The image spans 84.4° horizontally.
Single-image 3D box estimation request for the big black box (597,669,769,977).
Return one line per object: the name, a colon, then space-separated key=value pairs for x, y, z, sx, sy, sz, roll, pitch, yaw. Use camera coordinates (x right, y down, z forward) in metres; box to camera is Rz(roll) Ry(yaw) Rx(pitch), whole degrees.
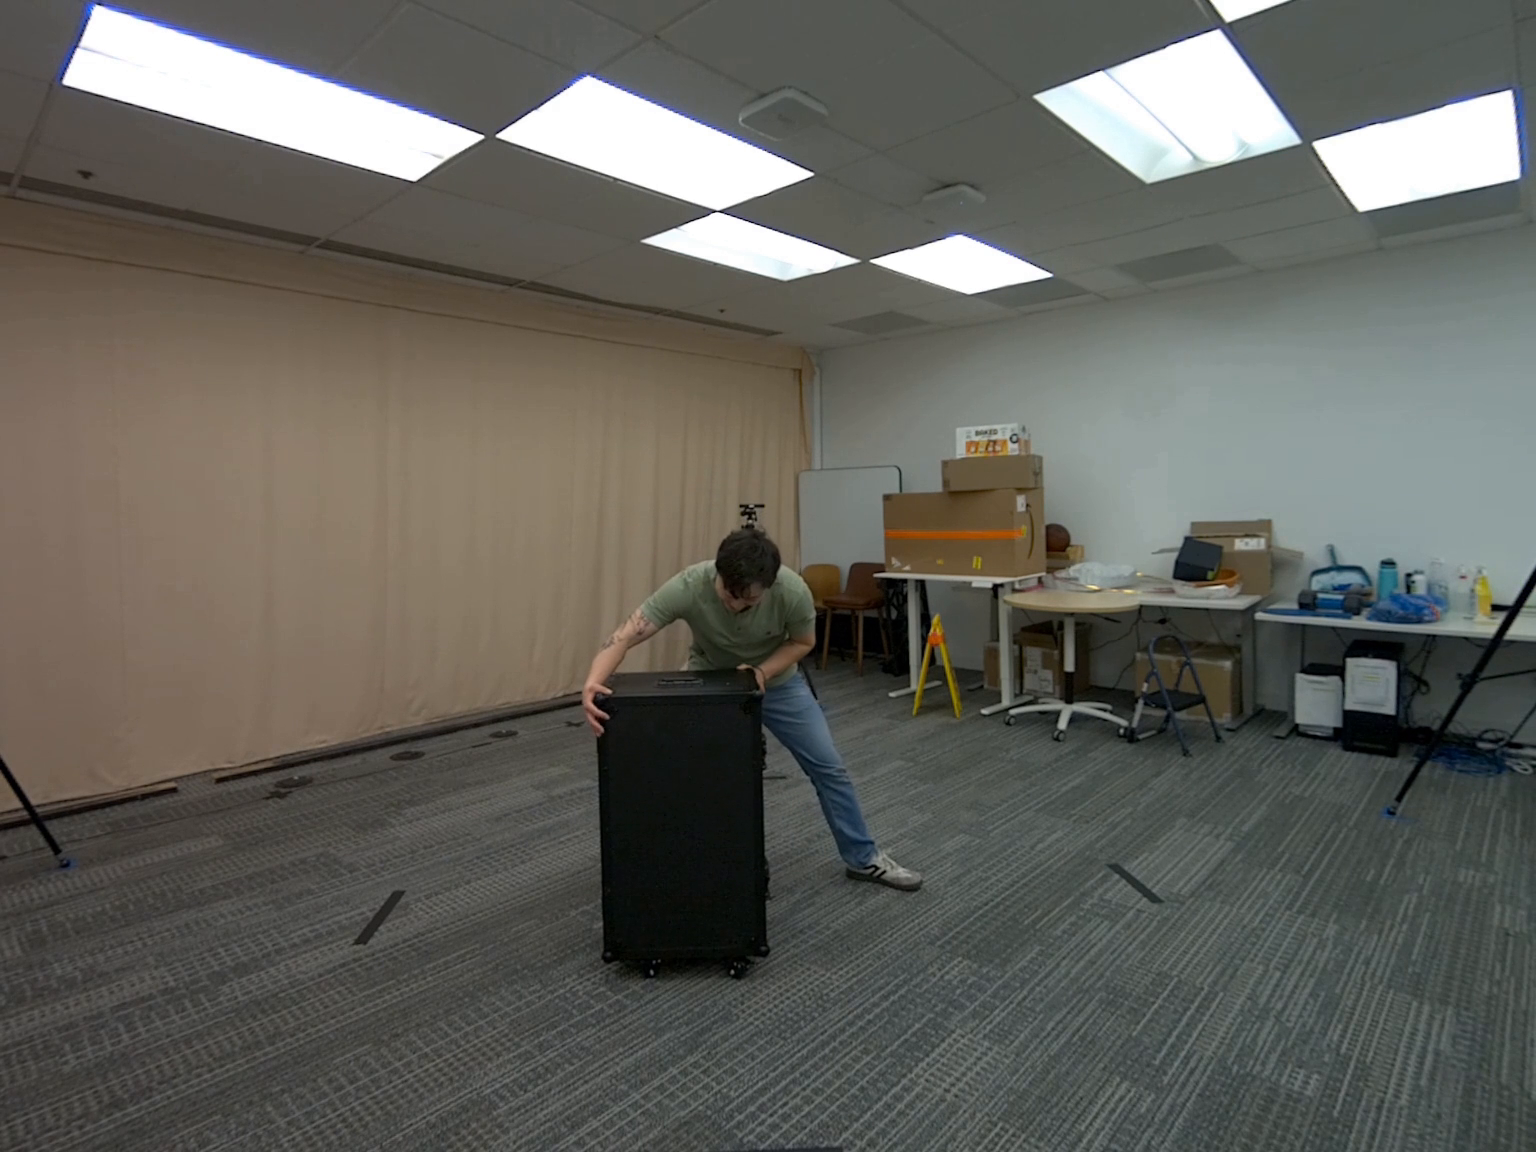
big black box: x=-0.268 y=0.750 z=2.621 sx=0.520 sy=0.860 sz=0.397 roll=-1 pitch=2 yaw=-2
